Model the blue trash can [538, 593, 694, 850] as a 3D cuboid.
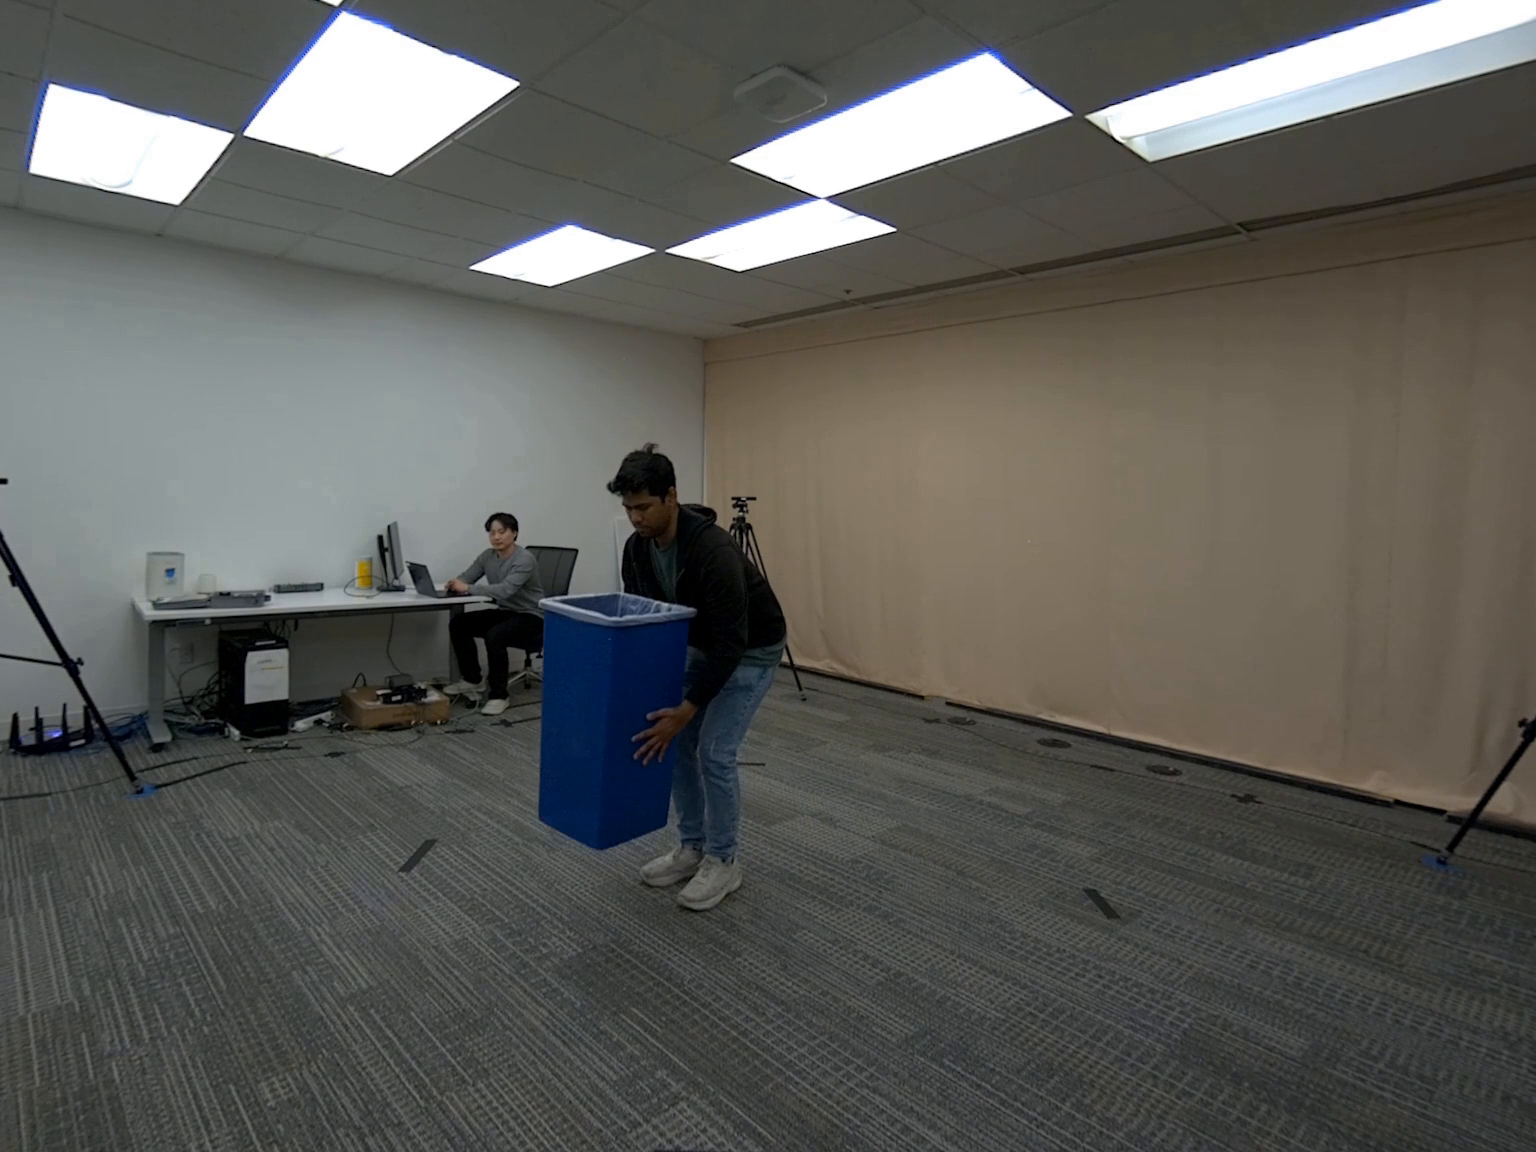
[{"bbox_3d":[-0.512,0.450,2.667,0.388,0.711,0.365,7,5,38],"label":"blue trash can"}]
